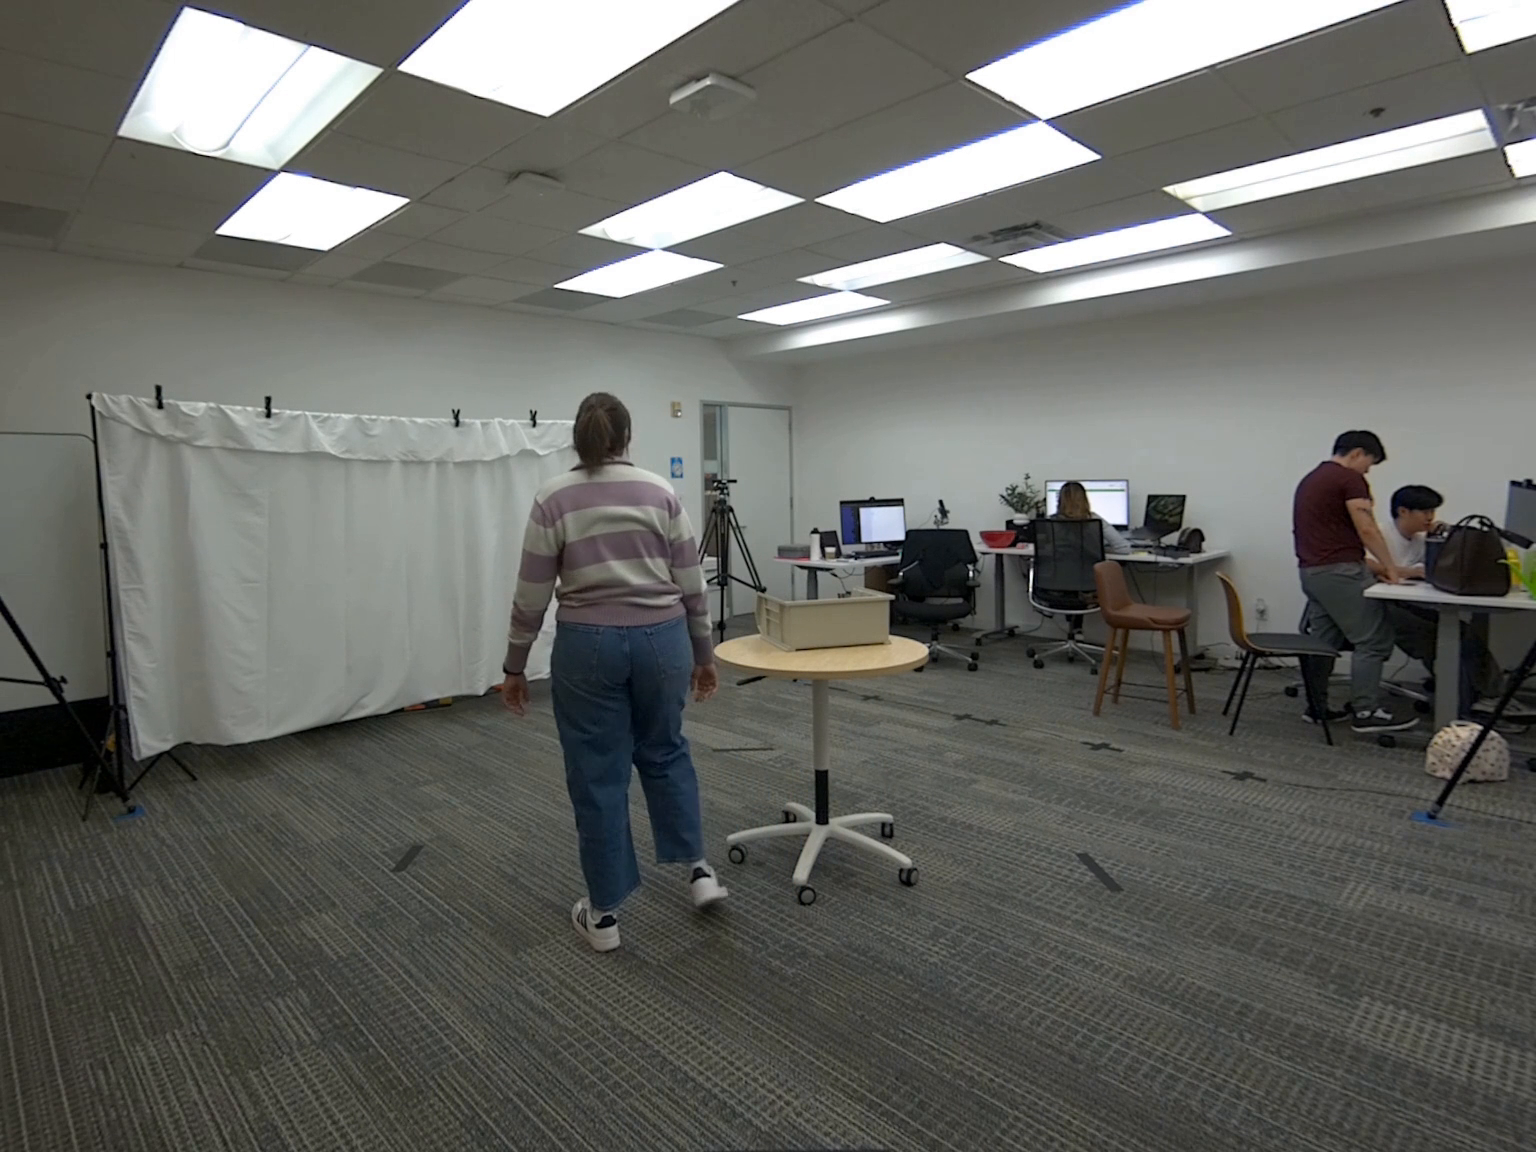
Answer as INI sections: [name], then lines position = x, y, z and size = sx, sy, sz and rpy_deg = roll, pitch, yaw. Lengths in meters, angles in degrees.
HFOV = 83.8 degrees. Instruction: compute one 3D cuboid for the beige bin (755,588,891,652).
[beige bin]
position = 0.205, 0.158, 3.248
size = 0.416, 0.188, 0.384
rpy_deg = -2, 6, -16
